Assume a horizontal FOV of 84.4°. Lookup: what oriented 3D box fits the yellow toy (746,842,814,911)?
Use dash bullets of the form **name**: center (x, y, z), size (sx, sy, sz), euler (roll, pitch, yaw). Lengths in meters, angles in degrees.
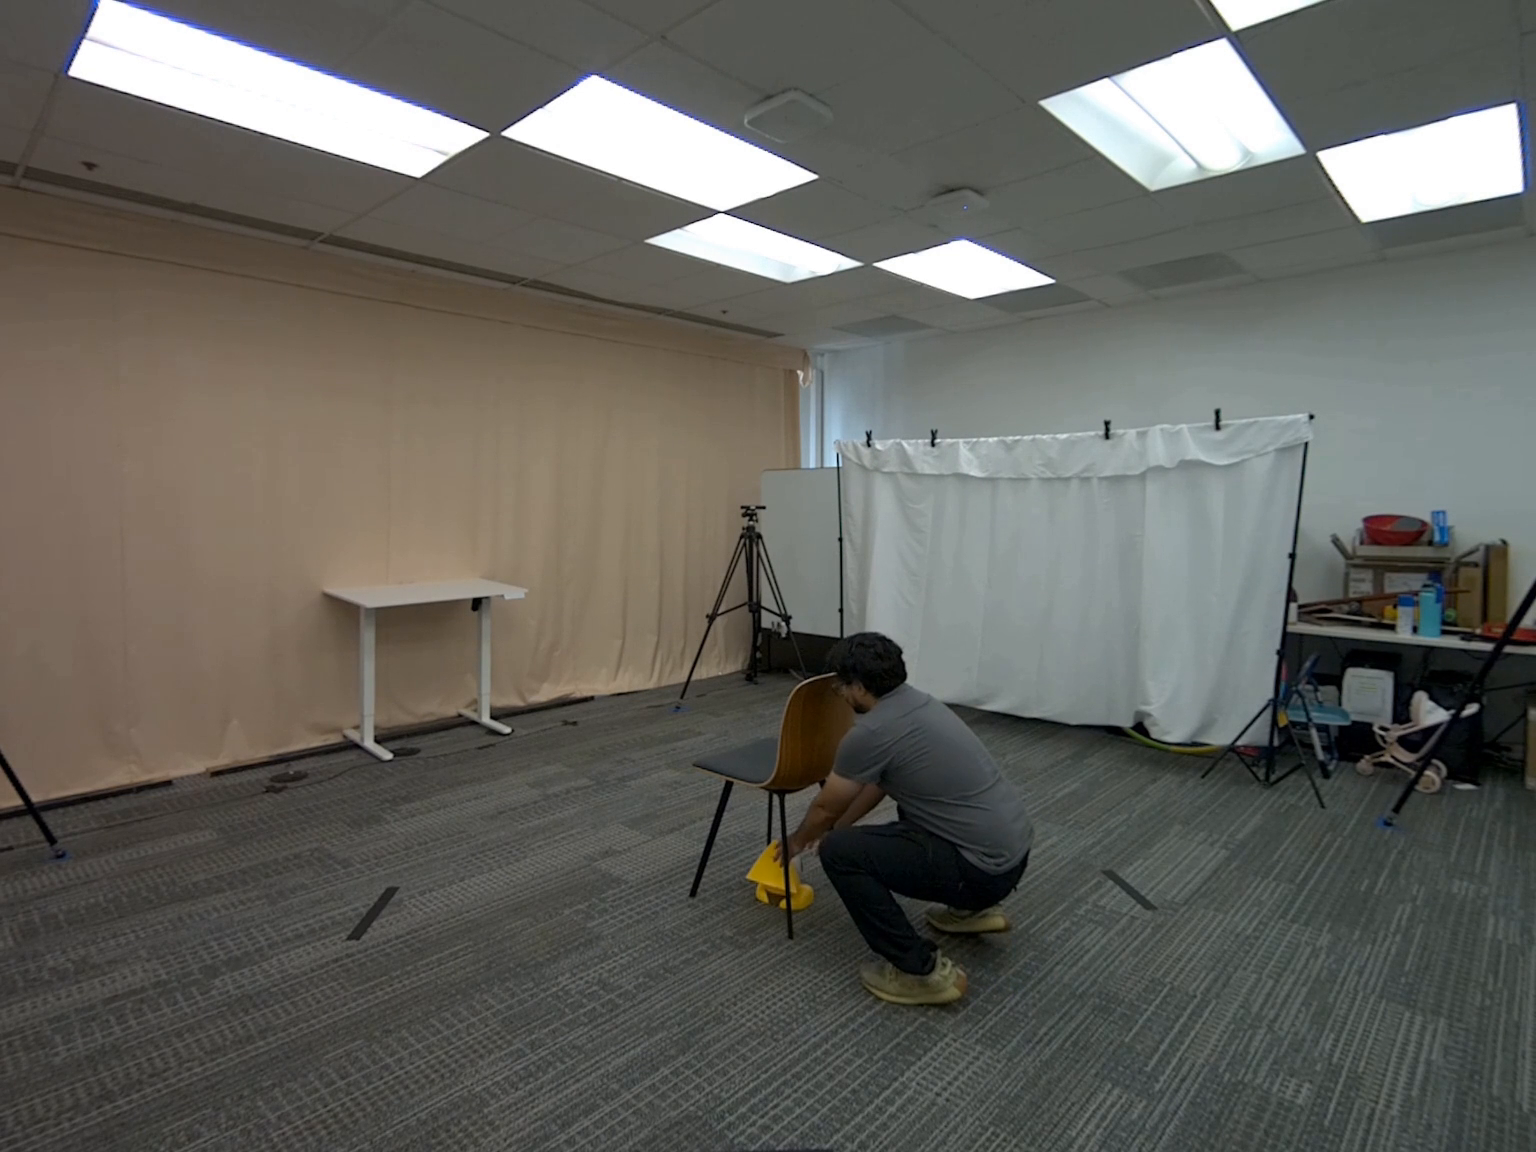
- **yellow toy**: center (0.056, 1.033, 2.983), size (0.211, 0.230, 0.188), euler (2, 8, 38)
